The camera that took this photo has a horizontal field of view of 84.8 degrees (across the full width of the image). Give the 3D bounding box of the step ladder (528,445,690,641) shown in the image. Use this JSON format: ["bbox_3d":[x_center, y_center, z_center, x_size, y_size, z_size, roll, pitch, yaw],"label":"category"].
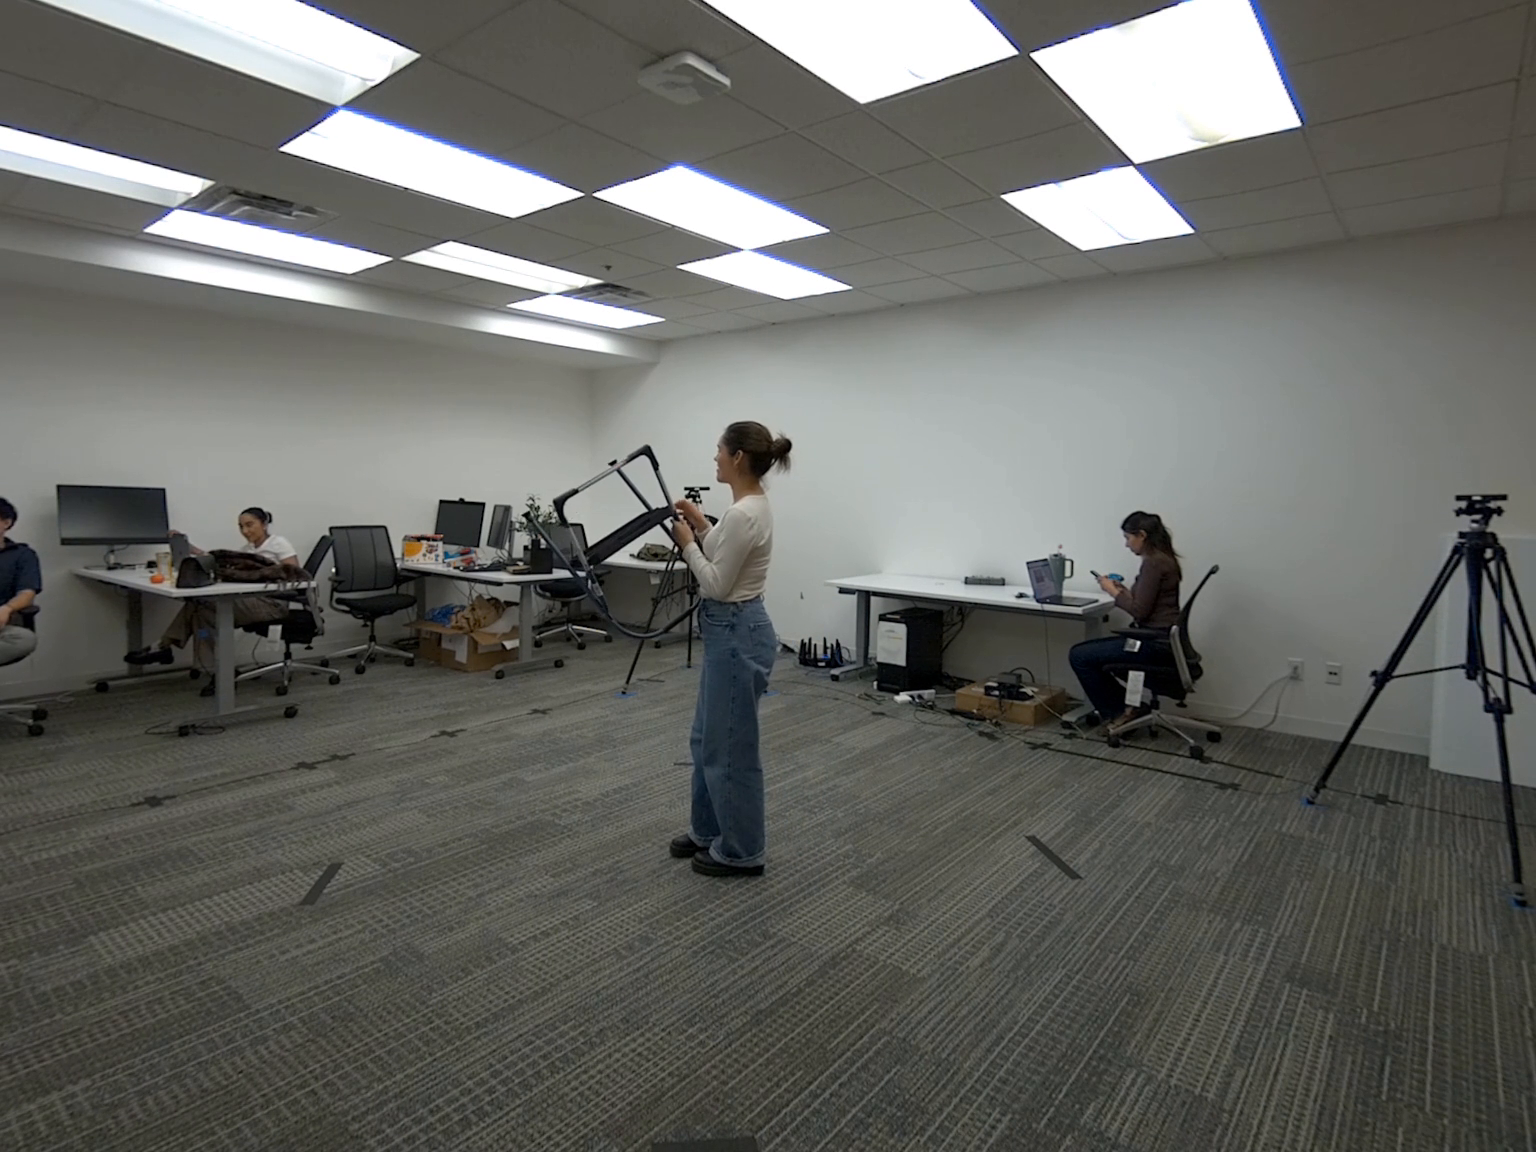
[{"bbox_3d":[-0.513,-0.087,3.062,0.427,0.600,0.356,-35,9,-28],"label":"step ladder"}]
